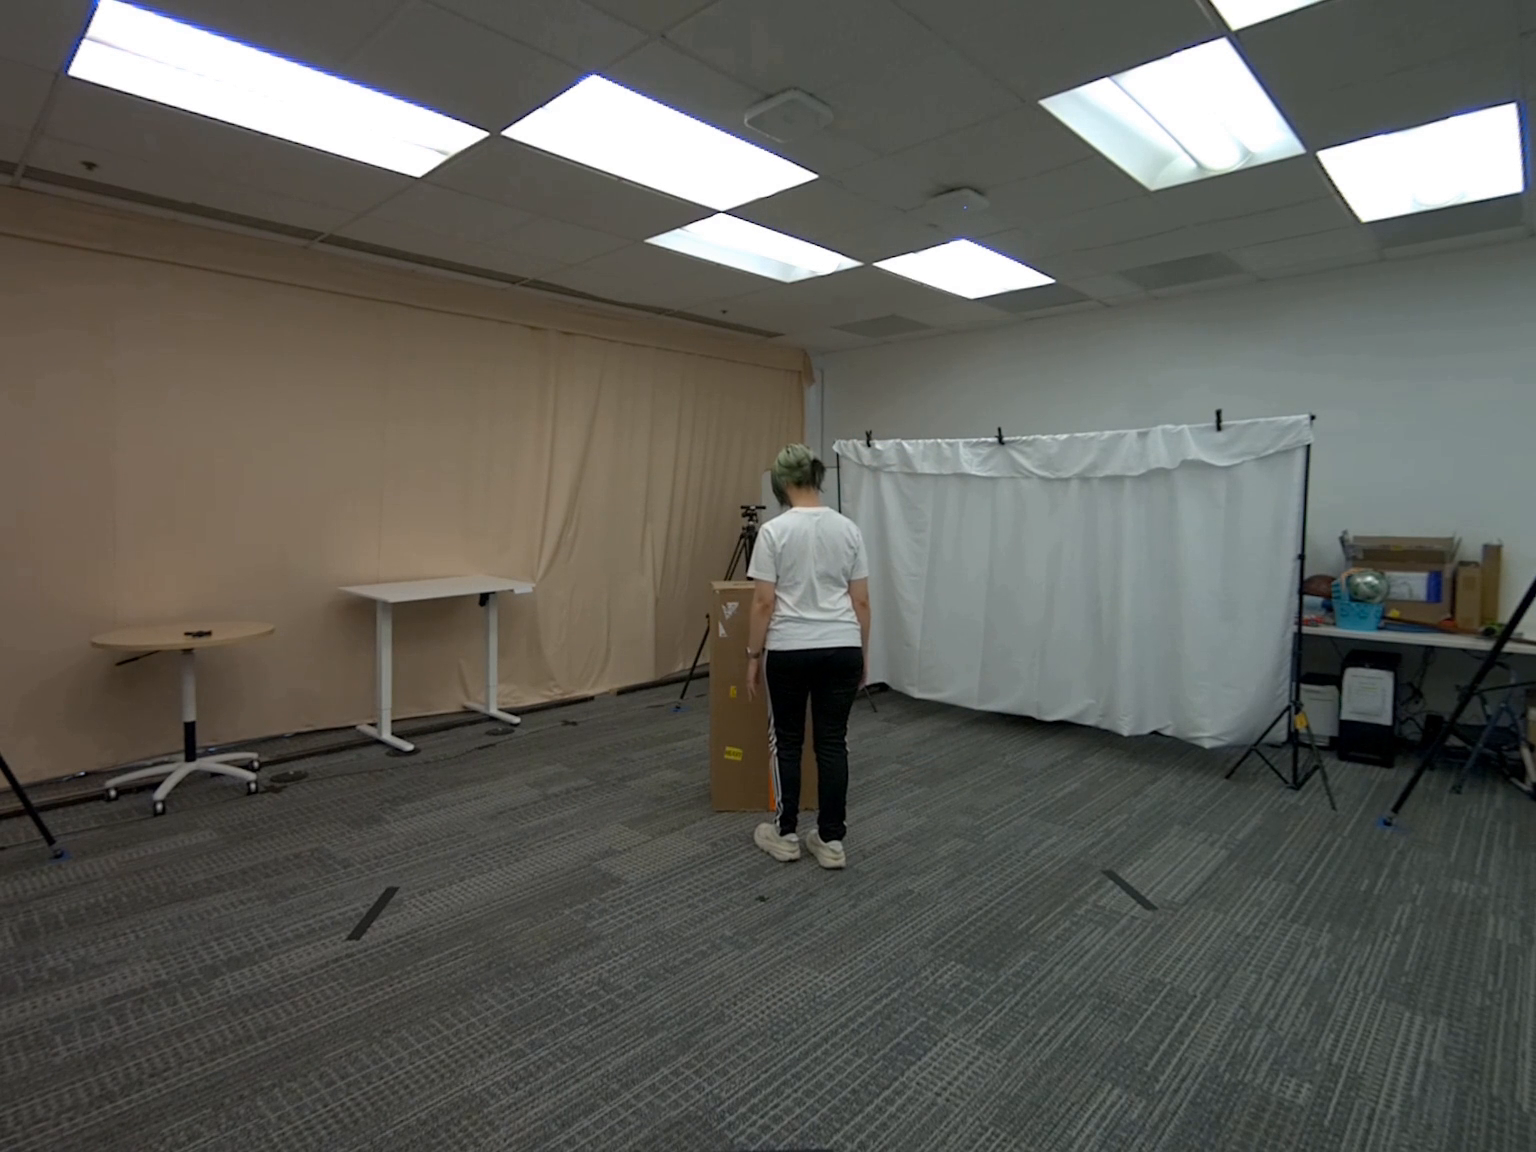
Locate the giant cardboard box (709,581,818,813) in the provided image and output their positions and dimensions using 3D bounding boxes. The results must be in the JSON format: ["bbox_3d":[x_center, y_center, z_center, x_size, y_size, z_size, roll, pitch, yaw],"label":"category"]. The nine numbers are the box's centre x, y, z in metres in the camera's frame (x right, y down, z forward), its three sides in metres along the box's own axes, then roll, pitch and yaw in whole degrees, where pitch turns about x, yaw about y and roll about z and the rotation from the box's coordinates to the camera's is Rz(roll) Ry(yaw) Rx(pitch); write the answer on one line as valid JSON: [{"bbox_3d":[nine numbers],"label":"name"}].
[{"bbox_3d":[0.013,0.550,4.038,0.581,1.025,0.449,0,2,-5],"label":"giant cardboard box"}]
